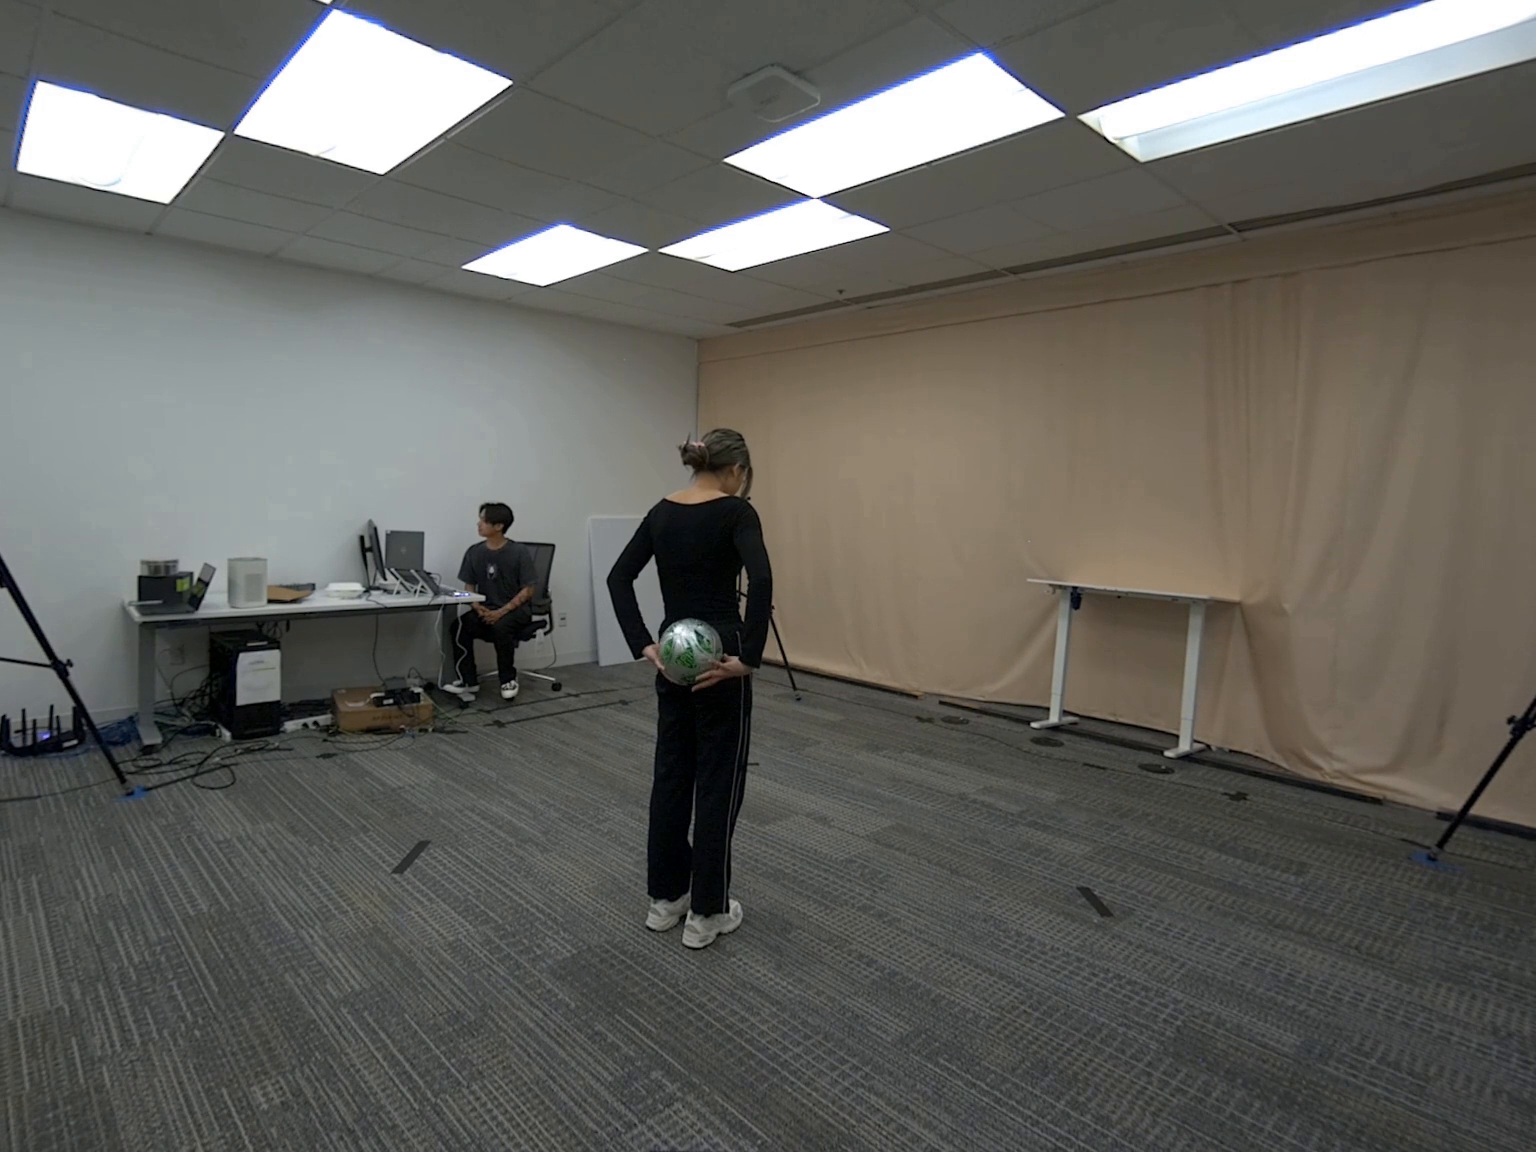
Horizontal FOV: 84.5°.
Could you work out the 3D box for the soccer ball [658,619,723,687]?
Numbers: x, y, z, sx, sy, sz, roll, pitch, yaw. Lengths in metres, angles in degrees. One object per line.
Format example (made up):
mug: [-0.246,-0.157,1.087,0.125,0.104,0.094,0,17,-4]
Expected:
soccer ball: [-0.239,0.216,2.462,0.187,0.187,0.188,1,4,-1]
